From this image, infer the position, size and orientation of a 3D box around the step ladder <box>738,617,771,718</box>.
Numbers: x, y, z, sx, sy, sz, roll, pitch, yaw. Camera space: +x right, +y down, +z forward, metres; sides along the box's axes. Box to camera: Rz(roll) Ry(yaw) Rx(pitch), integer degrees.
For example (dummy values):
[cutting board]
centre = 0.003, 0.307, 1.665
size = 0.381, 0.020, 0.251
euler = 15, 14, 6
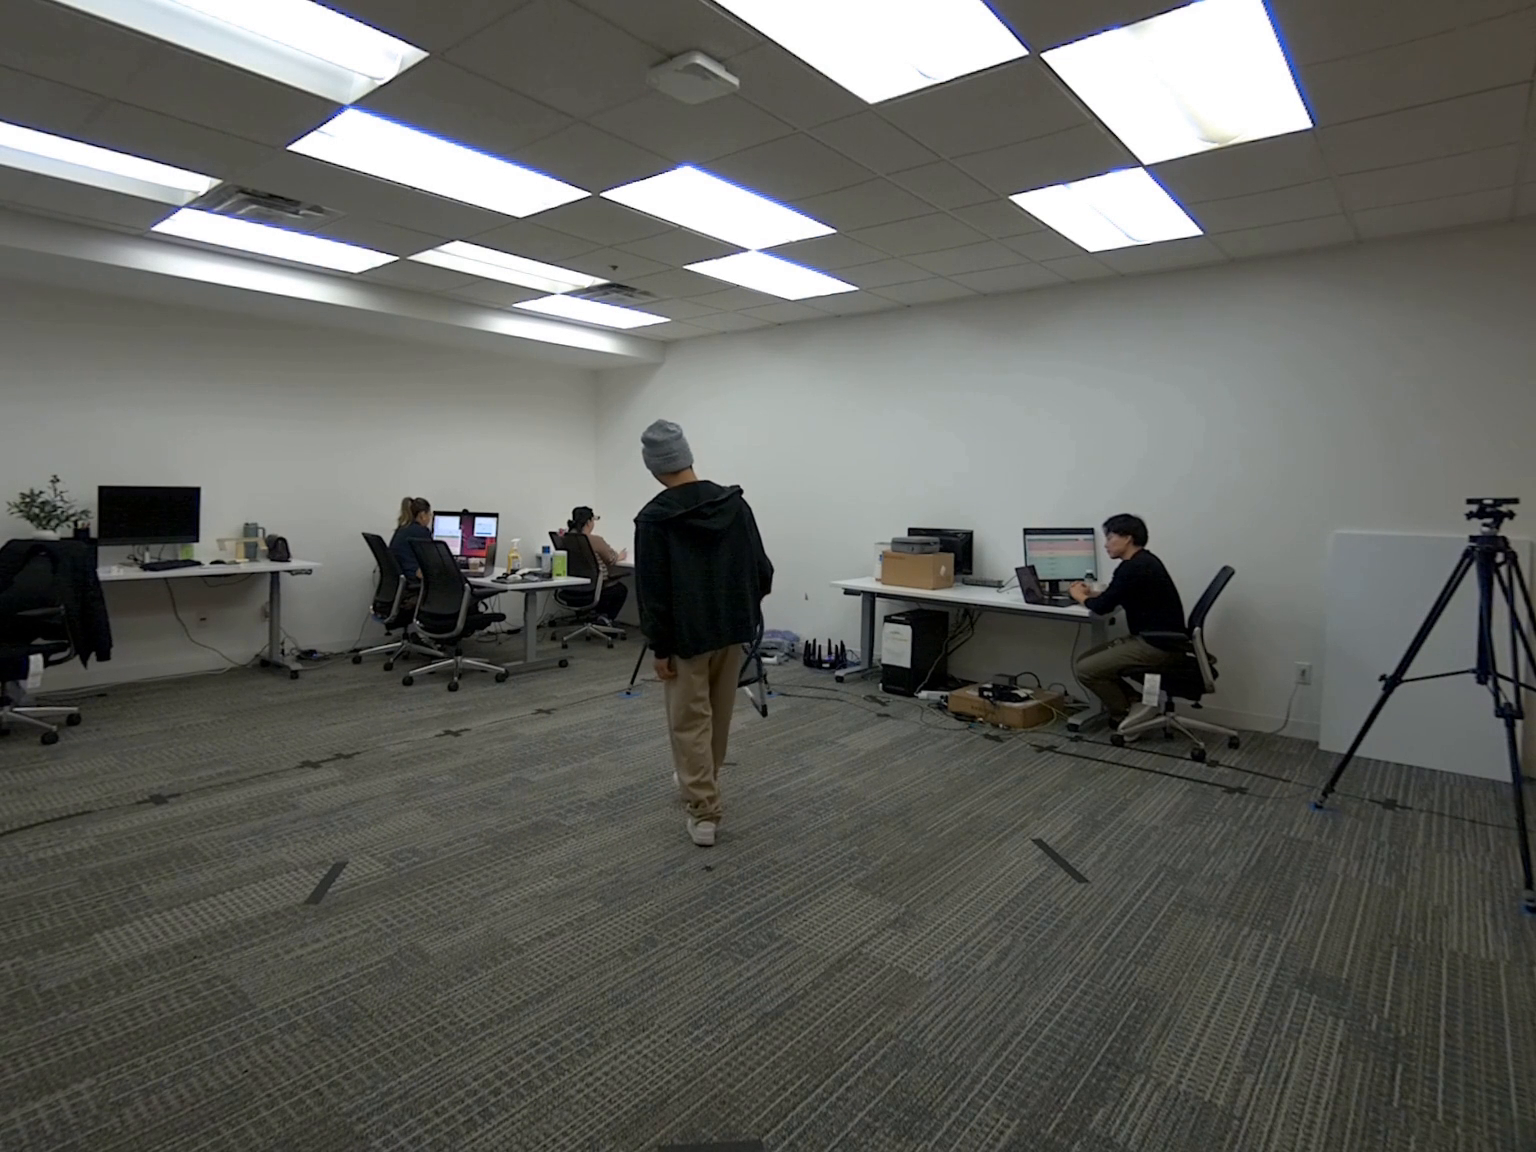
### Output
[step ladder]
centre = -0.215, 0.331, 3.856
size = 0.342, 0.593, 0.449
euler = -13, 40, -30
